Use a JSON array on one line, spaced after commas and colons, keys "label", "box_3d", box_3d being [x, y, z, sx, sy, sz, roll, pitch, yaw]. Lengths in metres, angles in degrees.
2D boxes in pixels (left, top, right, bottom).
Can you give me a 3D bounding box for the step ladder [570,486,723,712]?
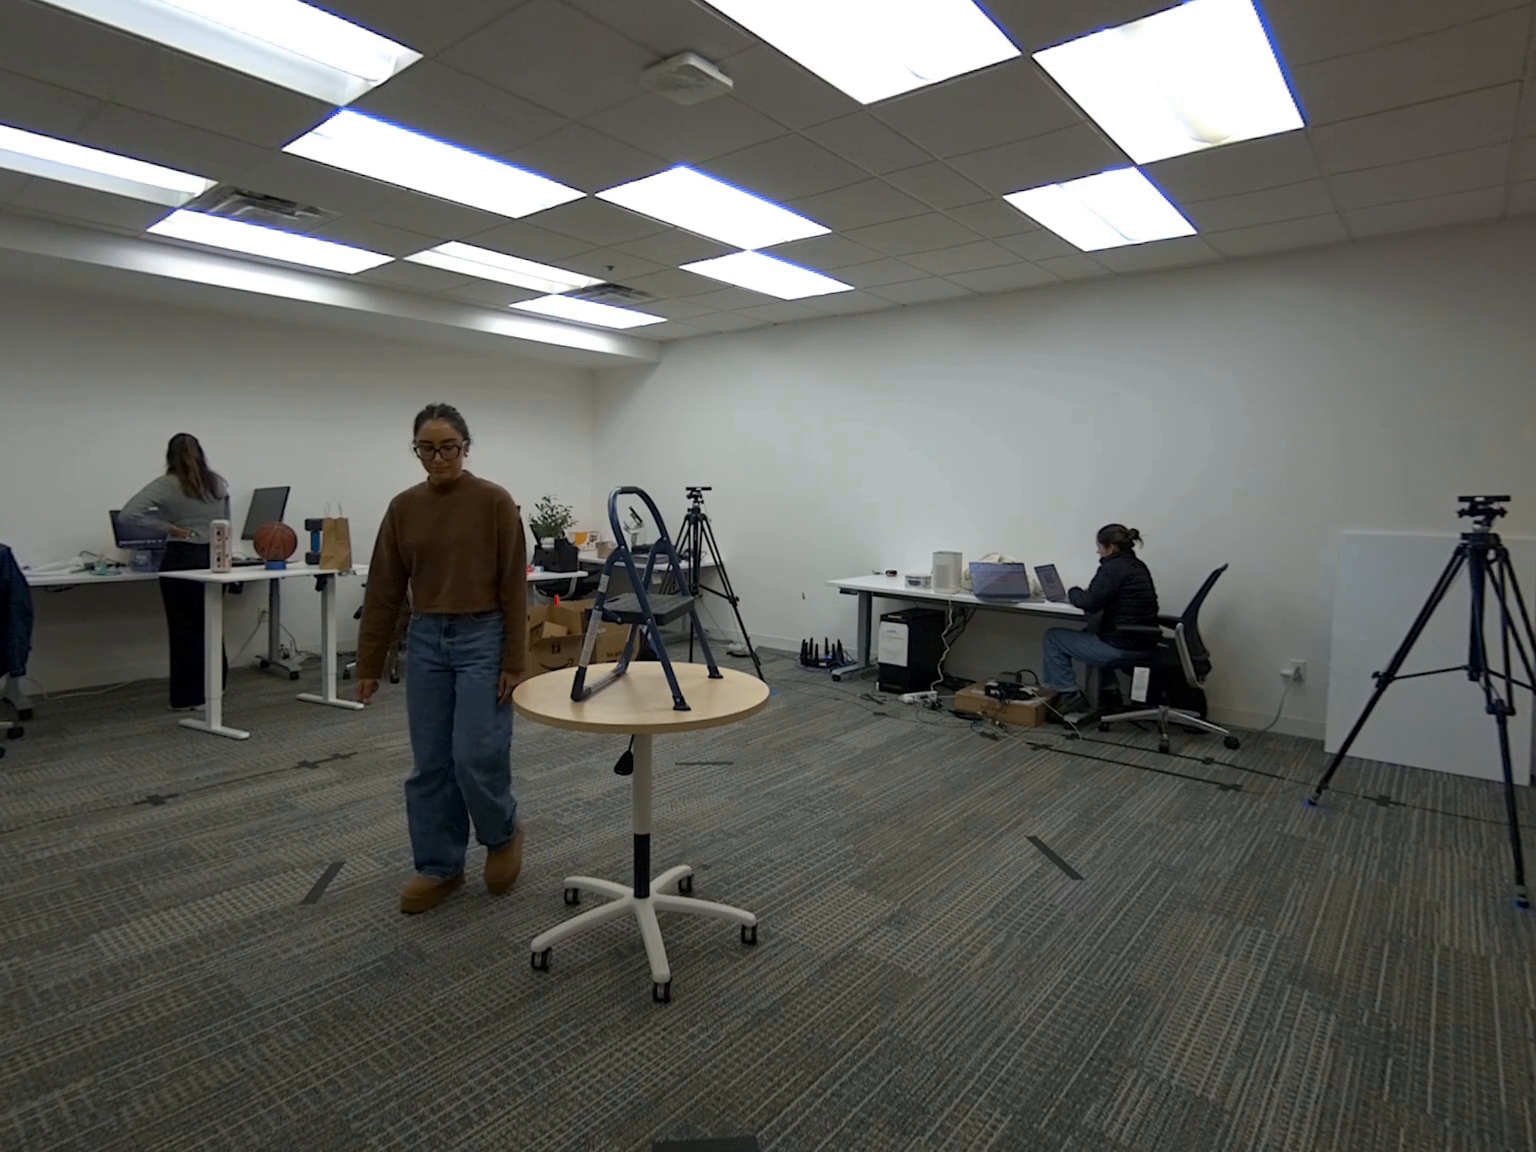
[{"label": "step ladder", "box_3d": [-0.359, 0.039, 2.538, 0.354, 0.604, 0.426, 2, 4, 11]}]
